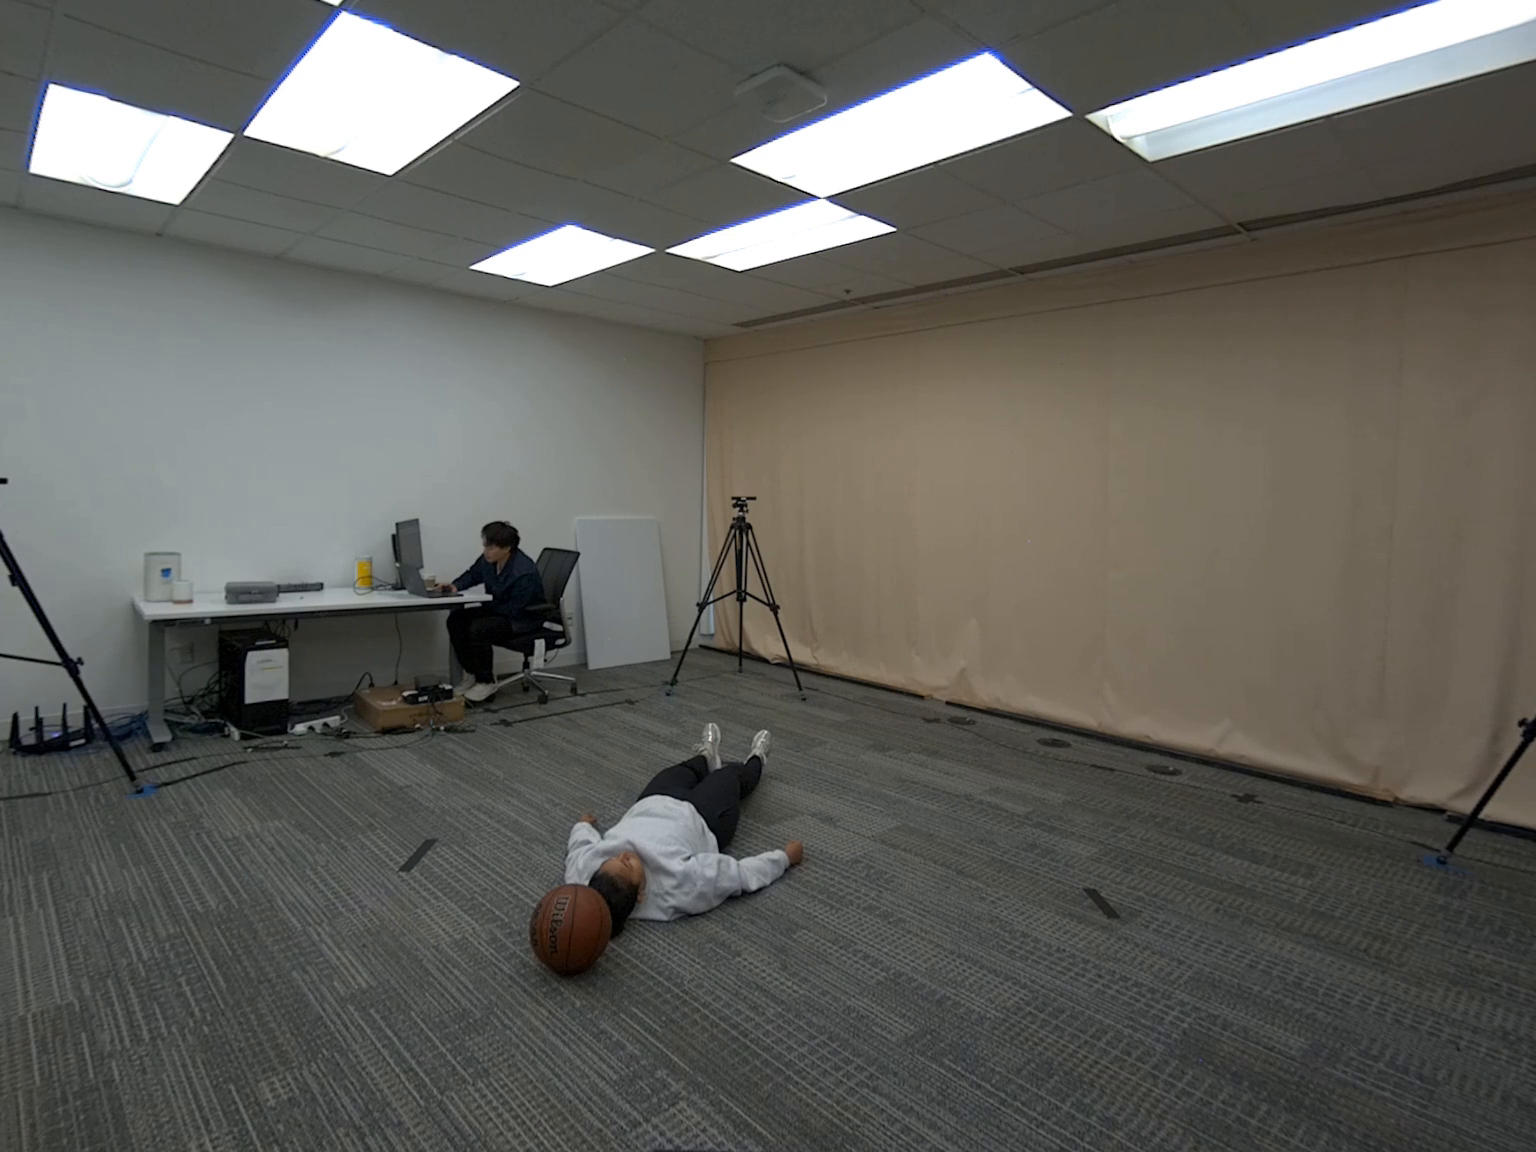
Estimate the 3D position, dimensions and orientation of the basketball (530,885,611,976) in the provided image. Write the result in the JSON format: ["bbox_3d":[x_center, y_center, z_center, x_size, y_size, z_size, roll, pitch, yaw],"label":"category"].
[{"bbox_3d":[-0.585,1.035,2.472,0.235,0.235,0.237,4,7,-2],"label":"basketball"}]
